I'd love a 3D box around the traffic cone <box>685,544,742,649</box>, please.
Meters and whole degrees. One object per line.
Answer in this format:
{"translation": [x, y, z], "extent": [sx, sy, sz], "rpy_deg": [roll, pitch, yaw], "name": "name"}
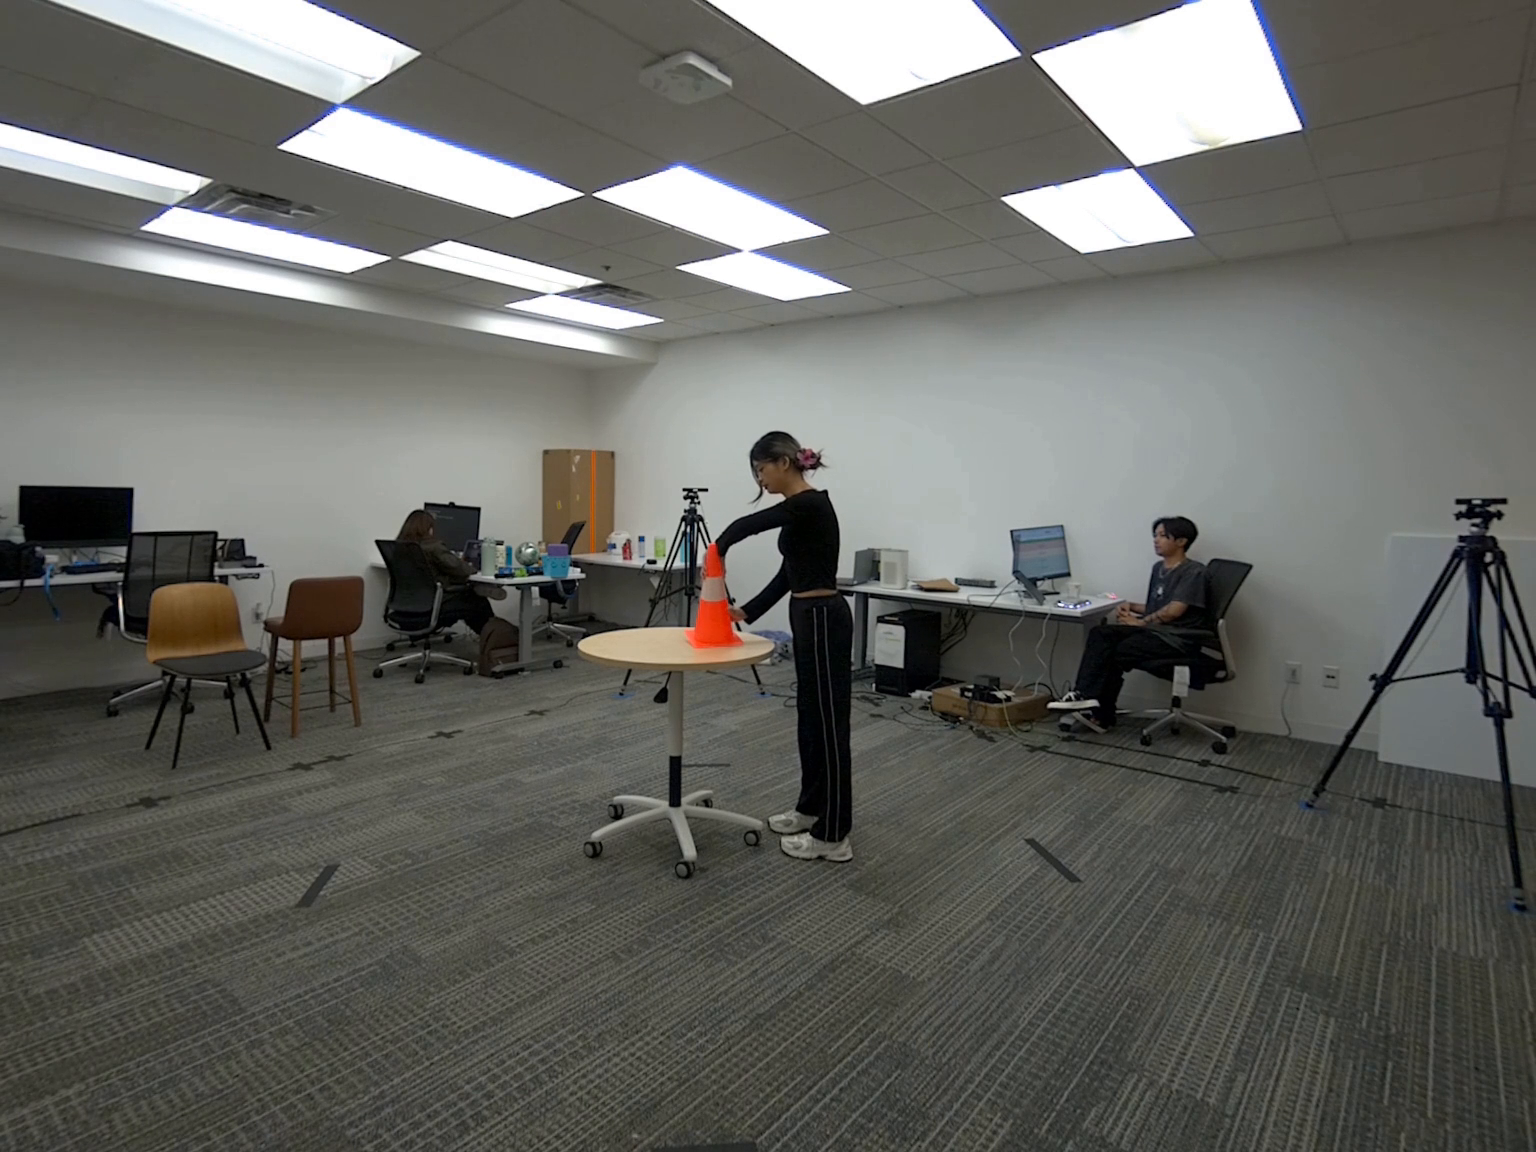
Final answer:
{"translation": [-0.220, 0.056, 3.313], "extent": [0.200, 0.380, 0.210], "rpy_deg": [-2, 11, -16], "name": "traffic cone"}
